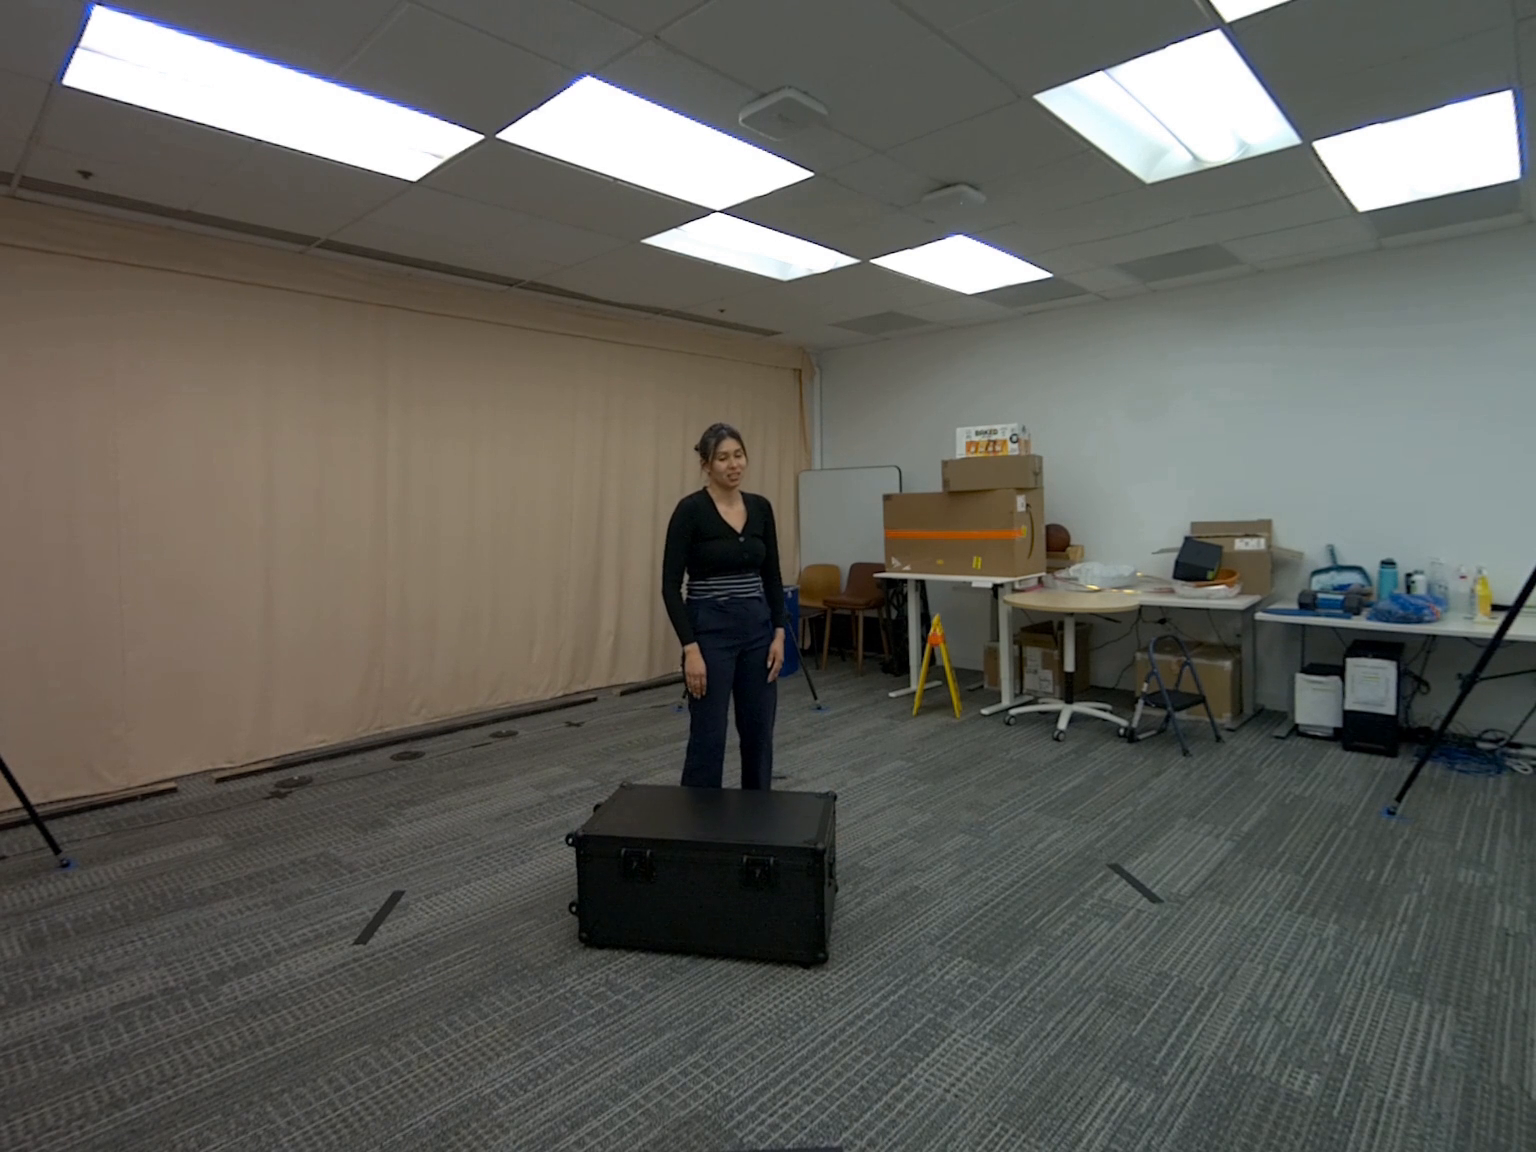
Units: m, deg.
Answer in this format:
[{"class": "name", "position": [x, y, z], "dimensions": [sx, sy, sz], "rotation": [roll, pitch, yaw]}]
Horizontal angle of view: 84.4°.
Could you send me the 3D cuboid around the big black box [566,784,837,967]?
[{"class": "big black box", "position": [-0.209, 0.962, 2.813], "dimensions": [0.873, 0.395, 0.516], "rotation": [0, 4, 11]}]
